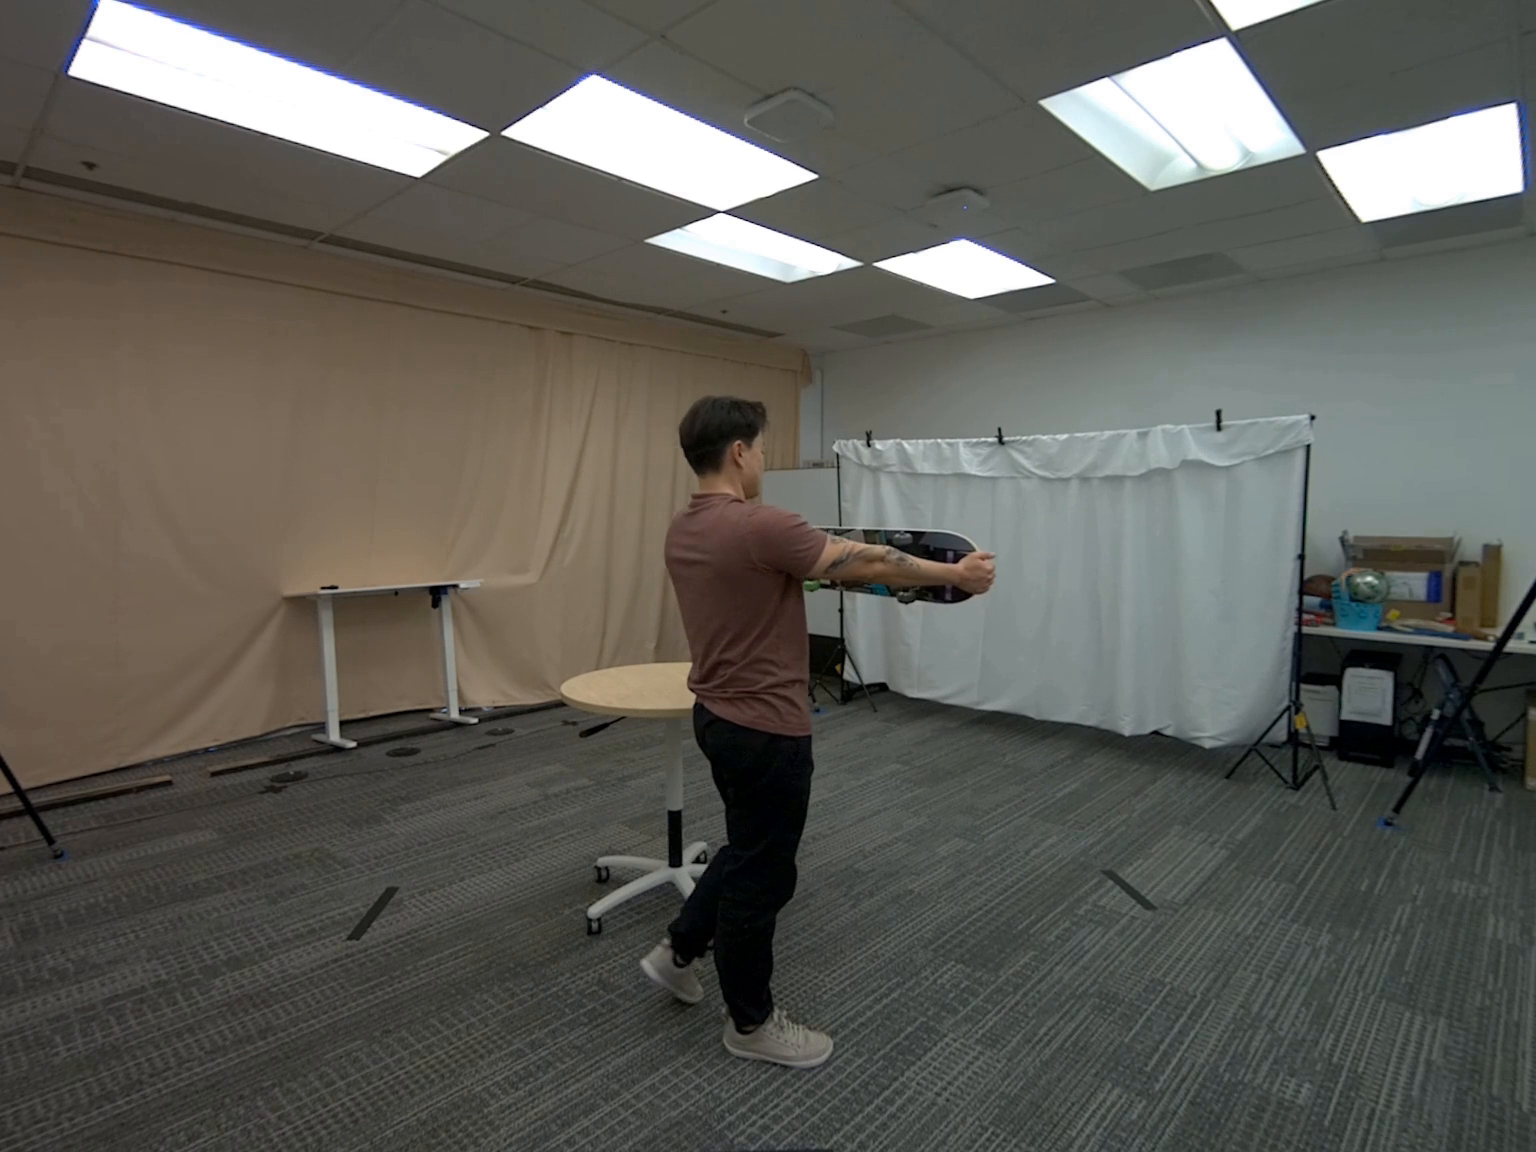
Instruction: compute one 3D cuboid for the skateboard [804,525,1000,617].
[{"bbox_3d":[0.284,-0.036,2.398,0.107,0.192,0.811,-11,10,-35],"label":"skateboard"}]
